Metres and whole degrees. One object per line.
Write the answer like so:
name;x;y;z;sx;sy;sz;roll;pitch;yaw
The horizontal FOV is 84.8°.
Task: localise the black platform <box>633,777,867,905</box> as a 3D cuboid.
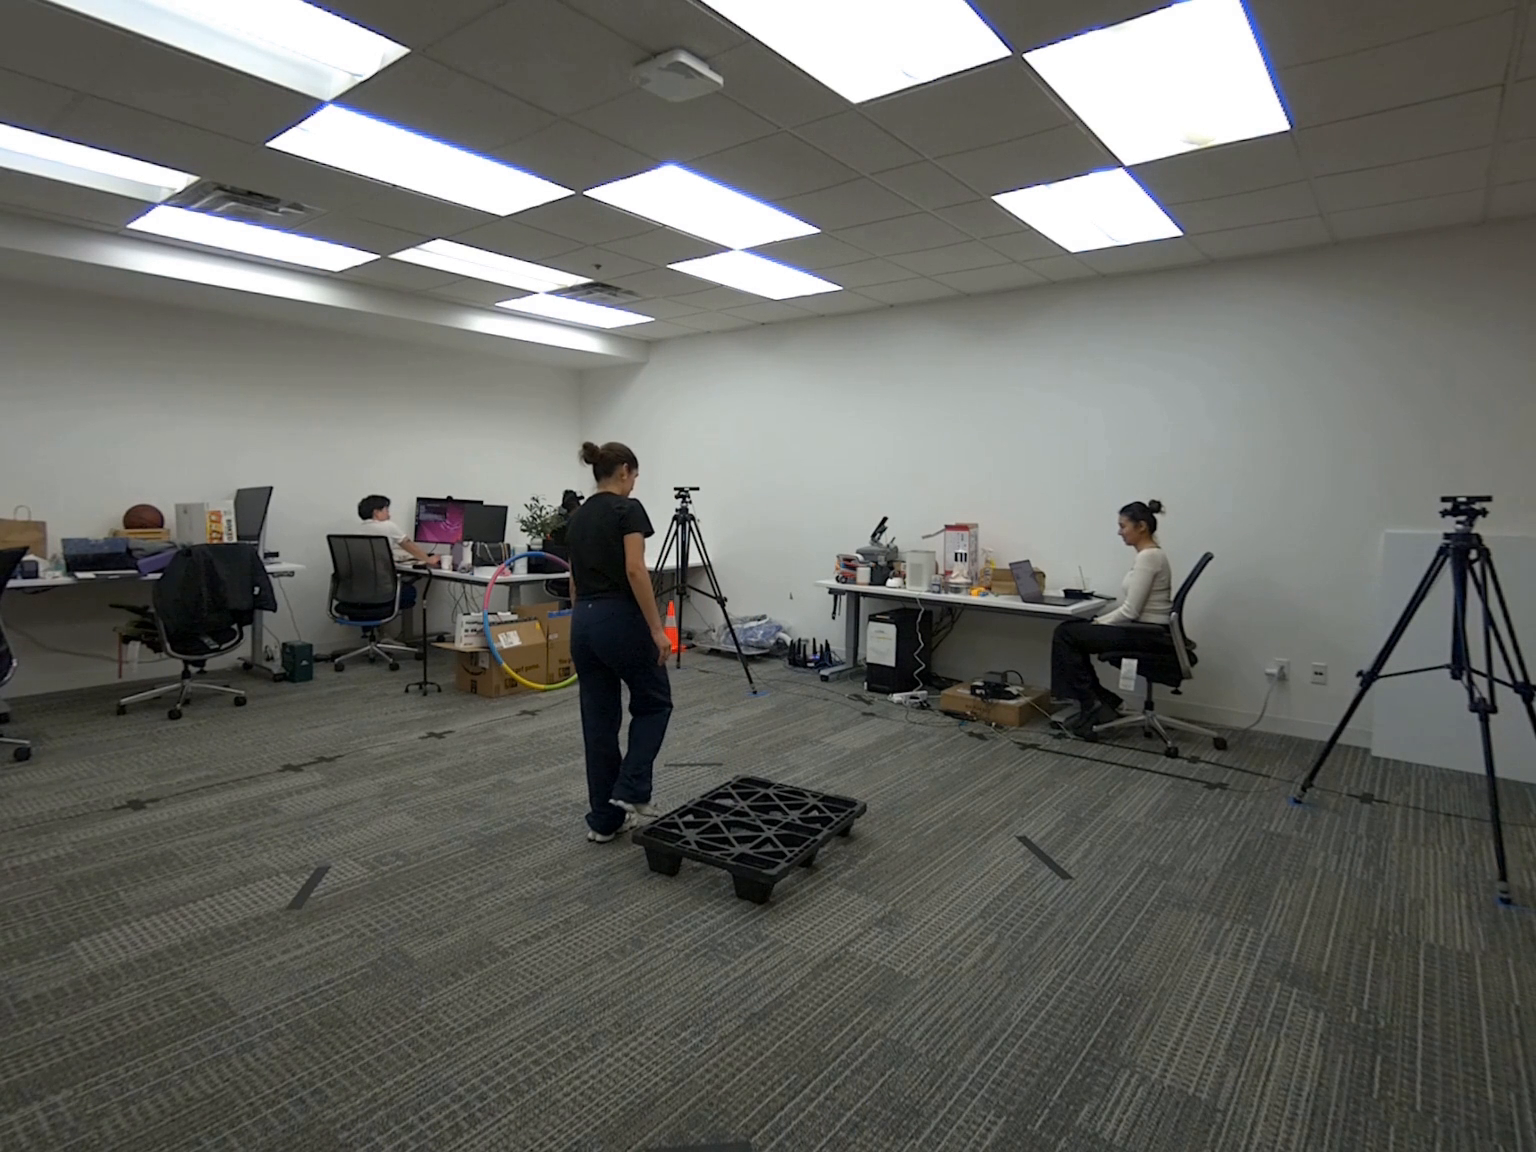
black platform;-0.038;0.985;3.274;0.623;0.143;0.784;4;6;31
